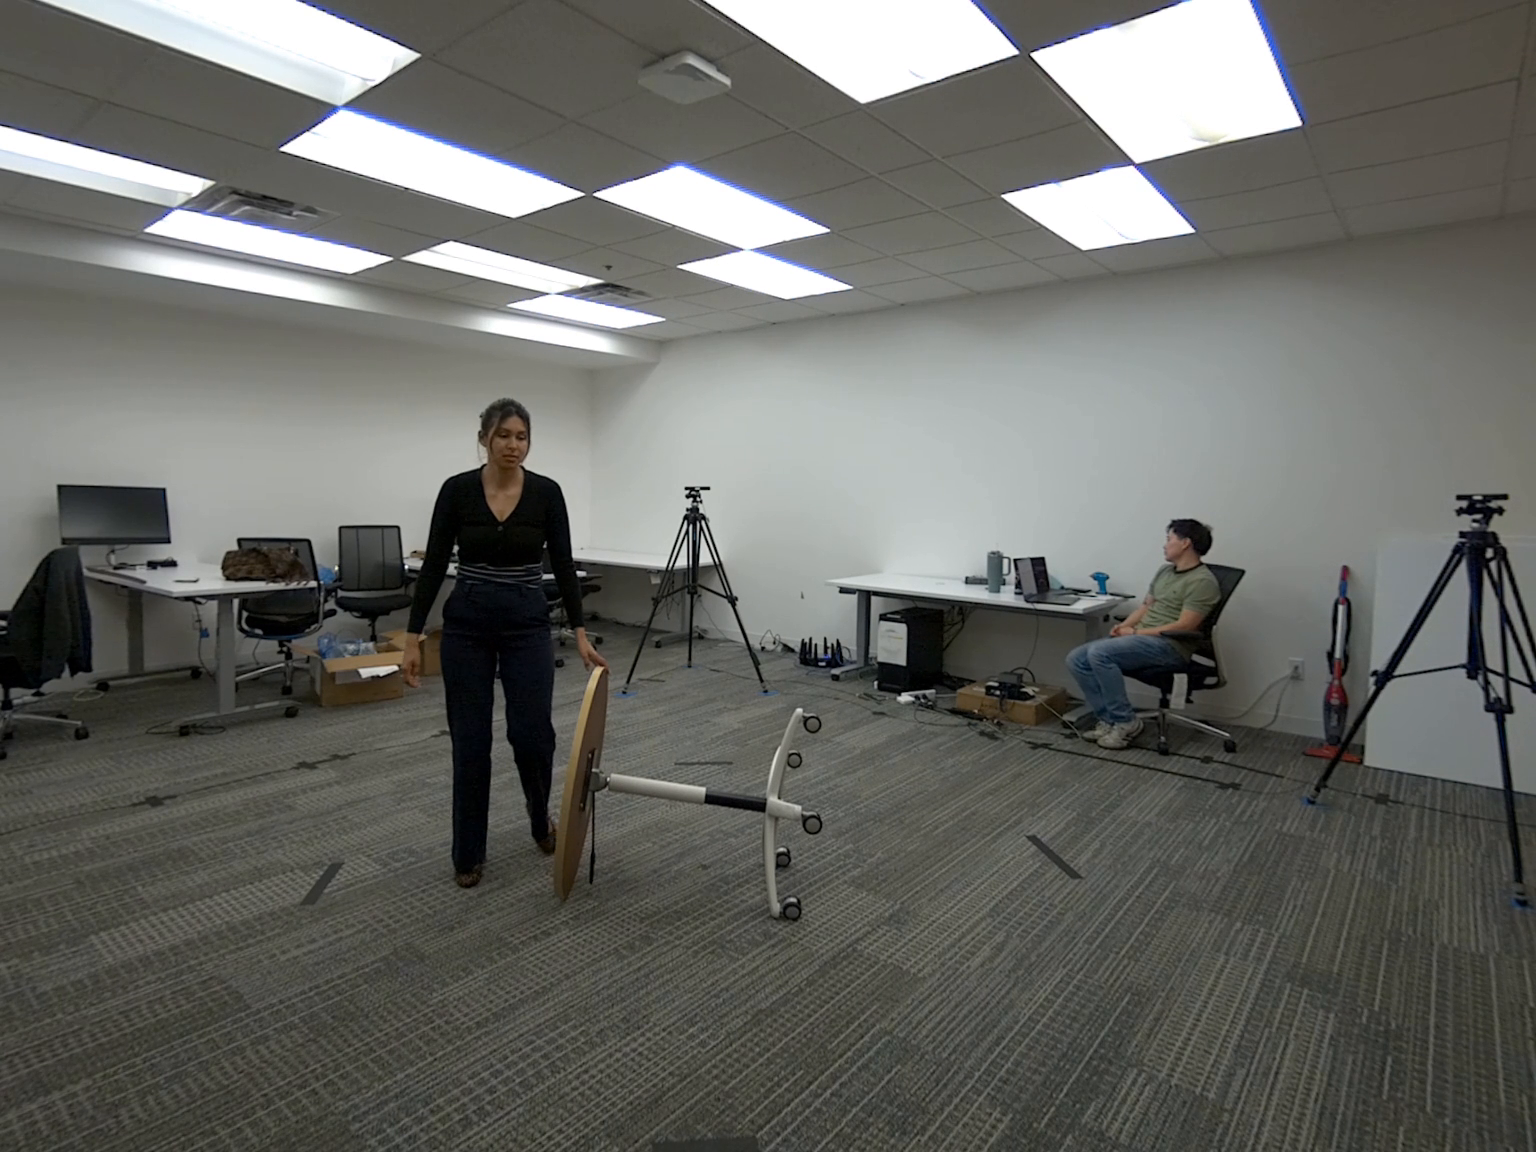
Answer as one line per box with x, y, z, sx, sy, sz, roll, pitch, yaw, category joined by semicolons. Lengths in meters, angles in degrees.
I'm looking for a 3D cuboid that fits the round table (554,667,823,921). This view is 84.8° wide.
-0.271;0.756;2.942;0.792;0.762;0.768;8;4;-3;round table
